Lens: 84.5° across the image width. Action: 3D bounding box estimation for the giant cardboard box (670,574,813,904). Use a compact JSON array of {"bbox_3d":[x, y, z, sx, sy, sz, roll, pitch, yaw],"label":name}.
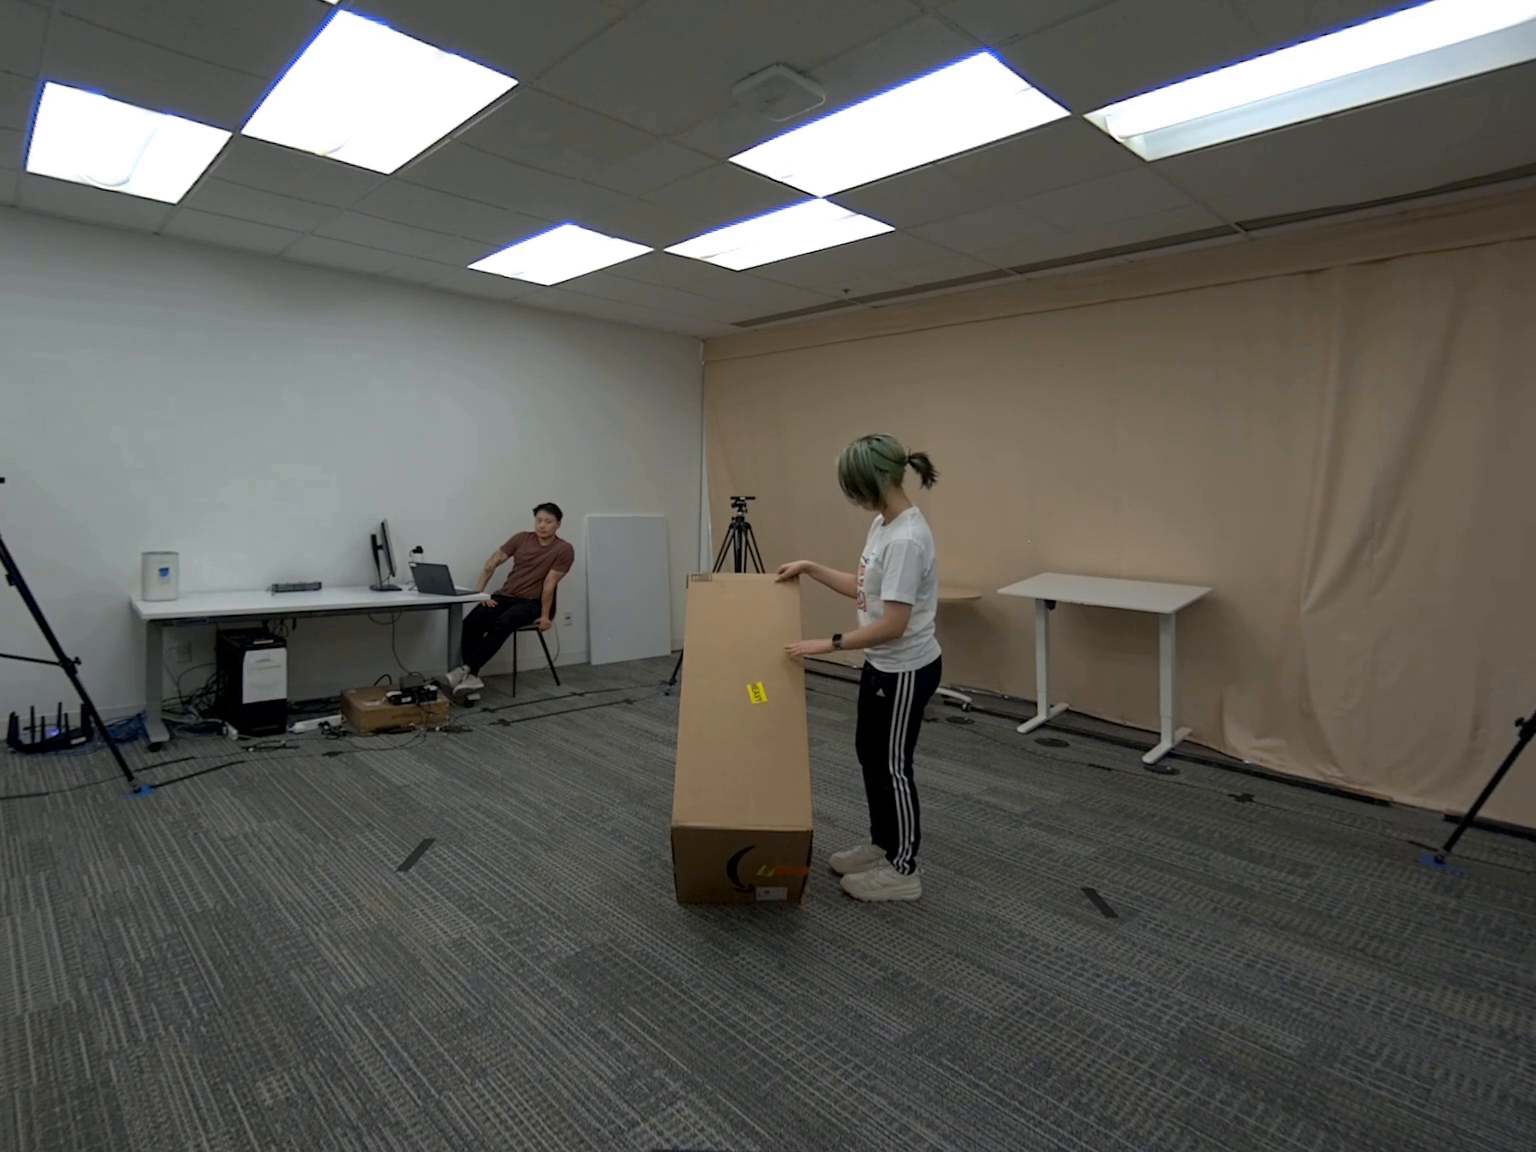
[{"bbox_3d":[-0.104,0.564,3.037,0.426,0.565,1.048,1,47,-2],"label":"giant cardboard box"}]
